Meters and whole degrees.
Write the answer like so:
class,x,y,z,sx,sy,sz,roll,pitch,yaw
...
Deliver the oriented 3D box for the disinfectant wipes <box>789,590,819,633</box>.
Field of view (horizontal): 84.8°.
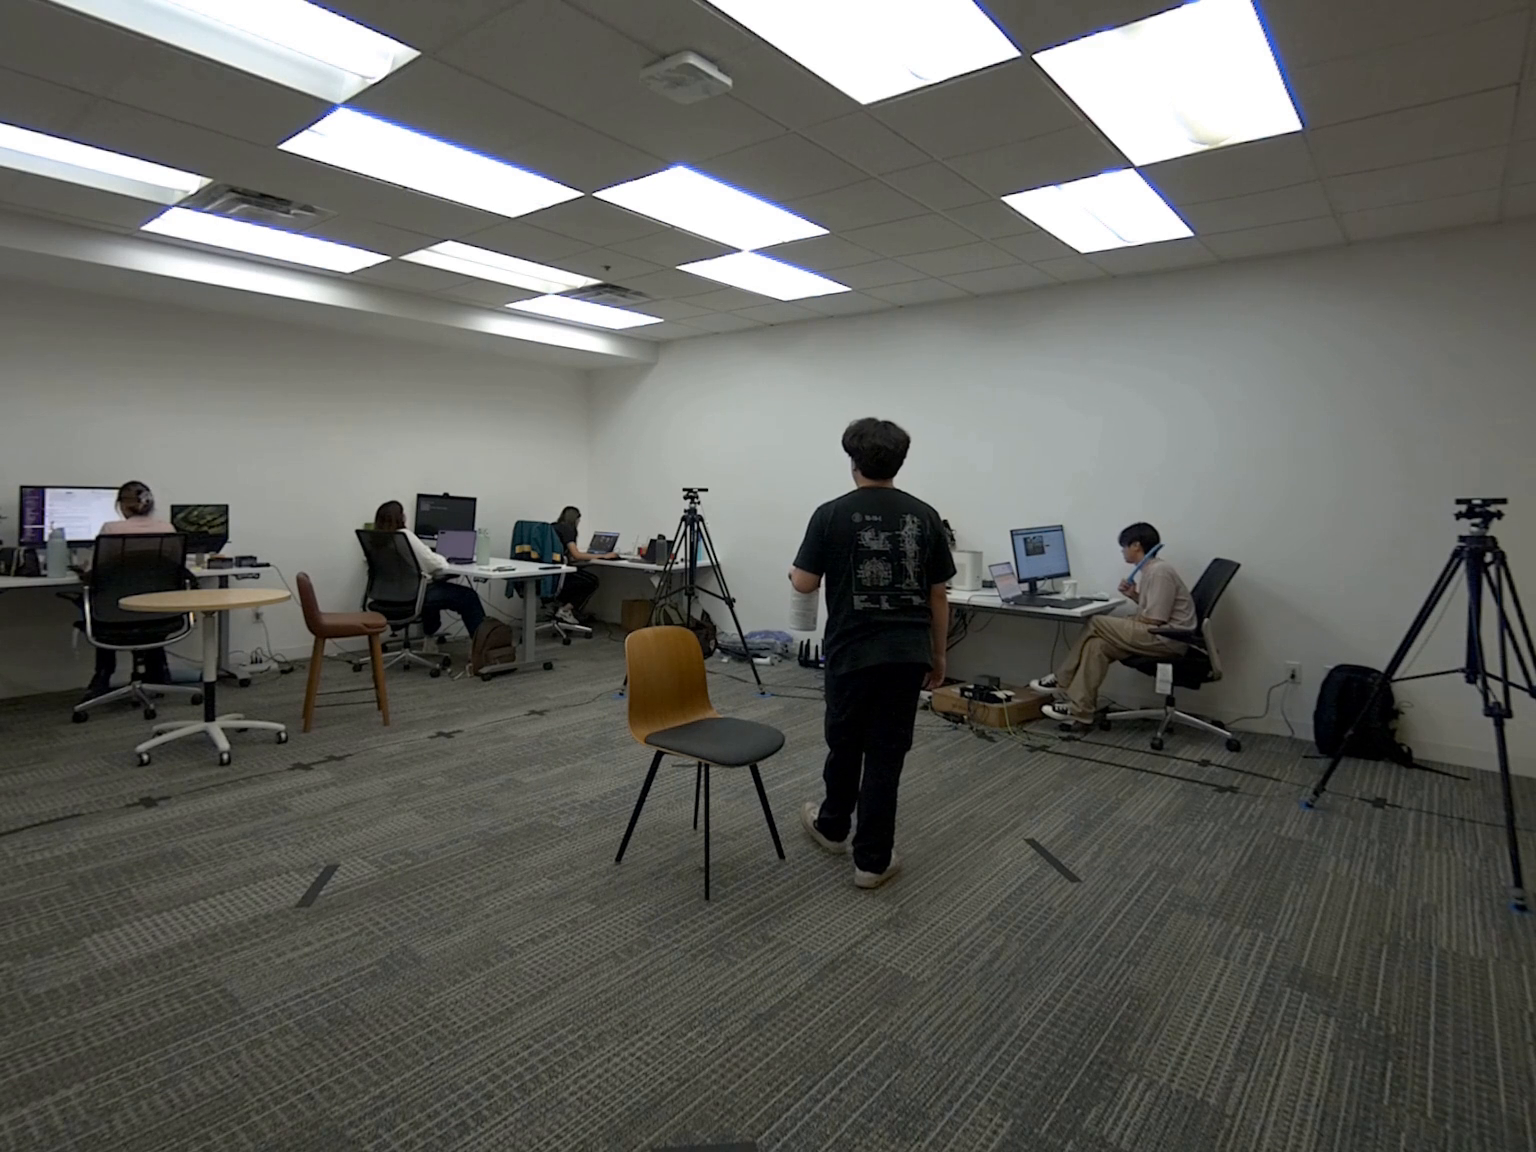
class,x,y,z,sx,sy,sz,roll,pitch,yaw
disinfectant wipes,0.136,0.103,3.396,0.117,0.216,0.118,3,5,-2
